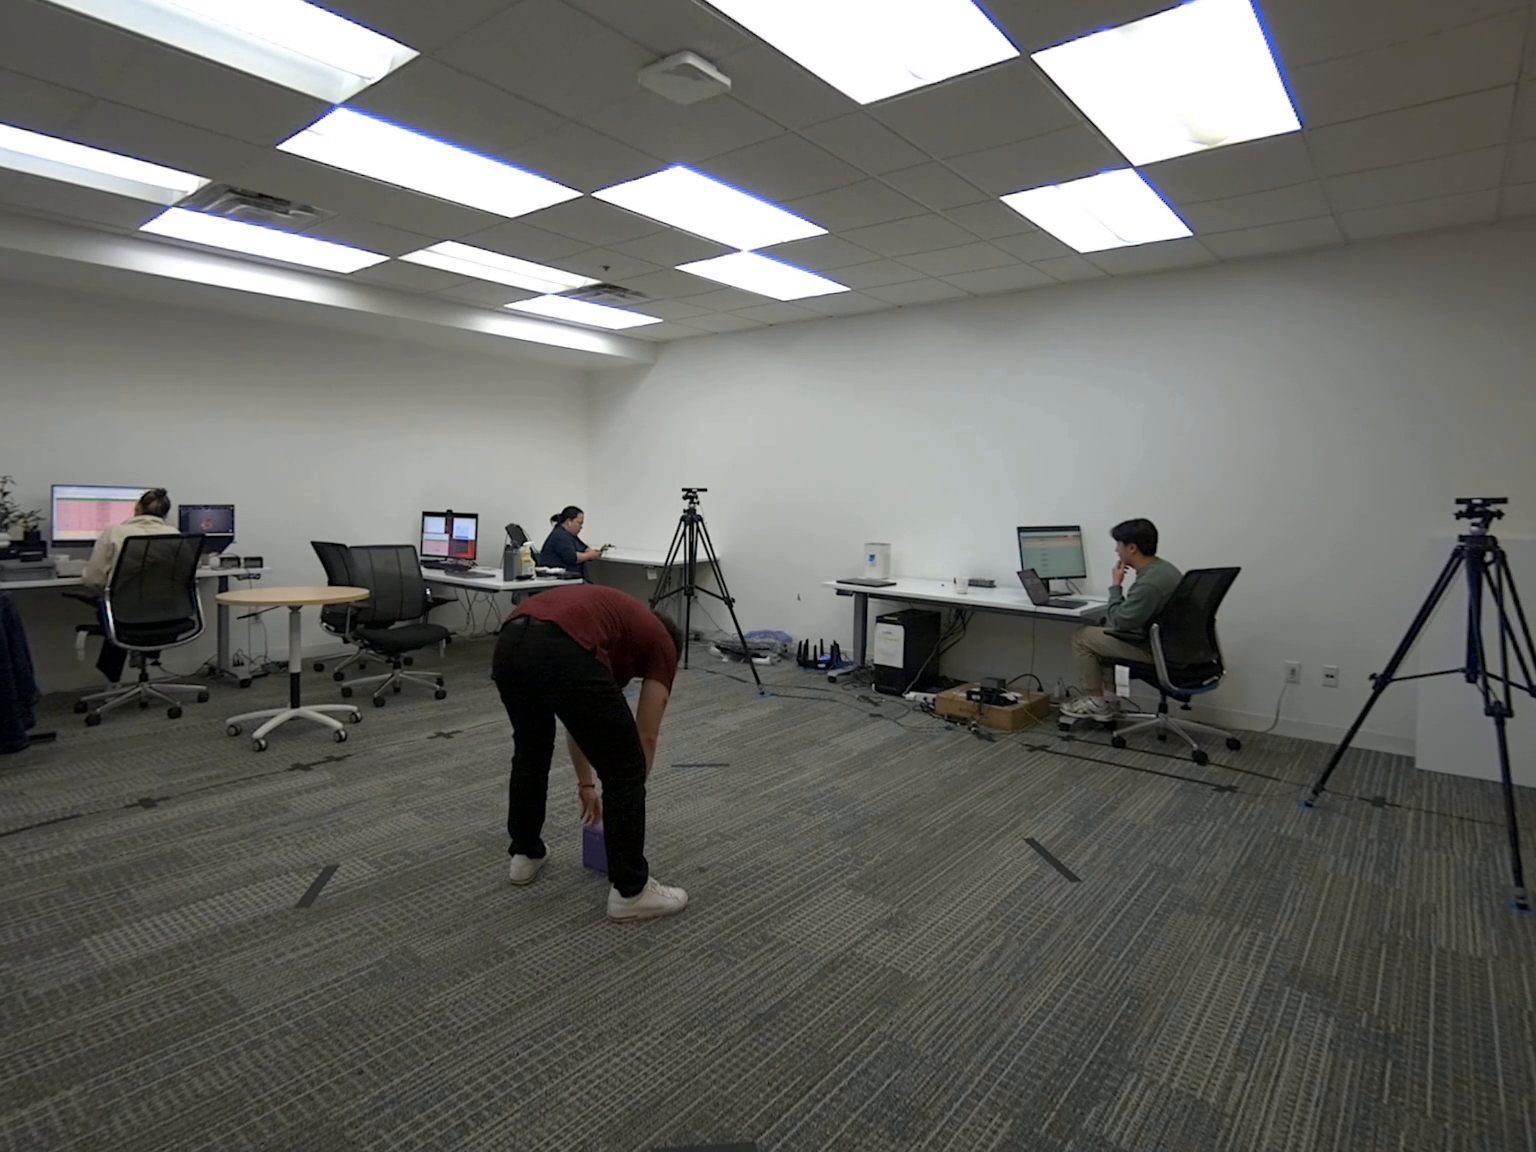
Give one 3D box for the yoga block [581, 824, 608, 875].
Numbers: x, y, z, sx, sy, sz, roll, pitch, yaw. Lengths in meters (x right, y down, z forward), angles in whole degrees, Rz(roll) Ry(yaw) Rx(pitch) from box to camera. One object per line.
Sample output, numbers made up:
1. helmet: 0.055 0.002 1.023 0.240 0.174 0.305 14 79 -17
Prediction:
1. yoga block: -0.579 0.991 3.083 0.236 0.148 0.074 4 4 28
